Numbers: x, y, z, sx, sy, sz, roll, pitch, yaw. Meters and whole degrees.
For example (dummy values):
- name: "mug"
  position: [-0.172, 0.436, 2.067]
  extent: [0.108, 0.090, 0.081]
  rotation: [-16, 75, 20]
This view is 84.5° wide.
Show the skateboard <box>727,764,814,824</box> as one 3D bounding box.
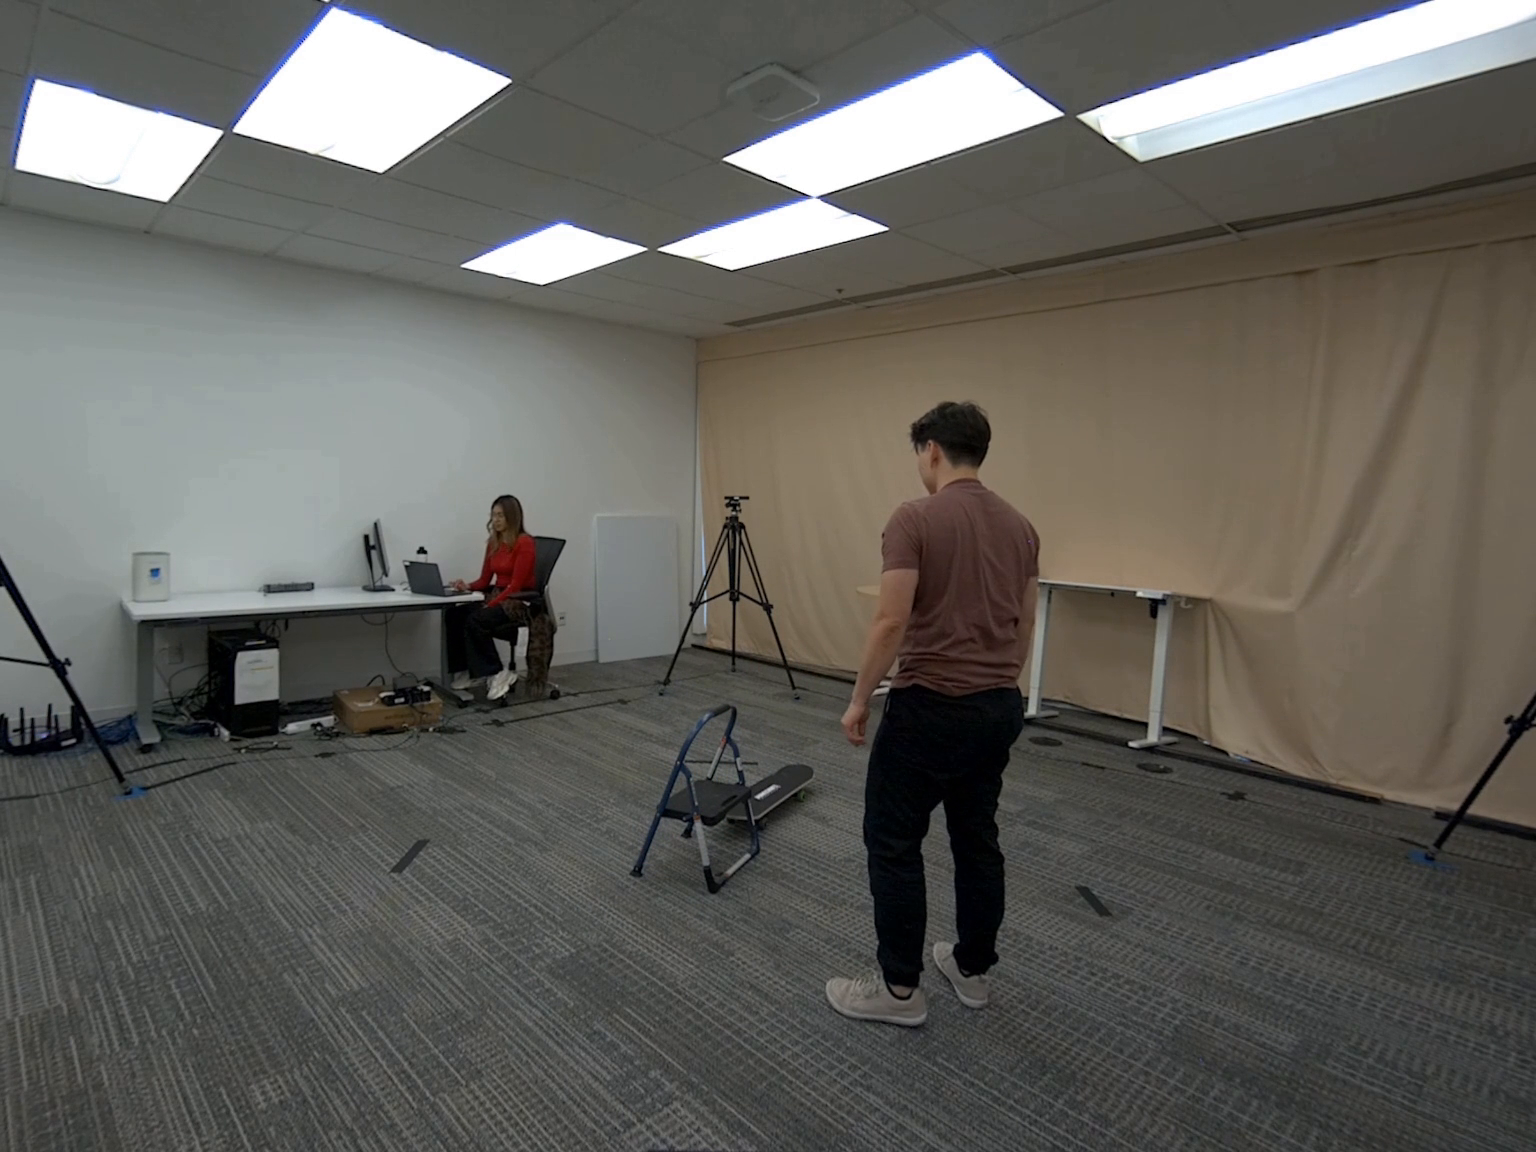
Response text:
- name: "skateboard"
  position: [-0.012, 0.988, 3.746]
  extent: [0.197, 0.110, 0.771]
  rotation: [4, 5, 26]
